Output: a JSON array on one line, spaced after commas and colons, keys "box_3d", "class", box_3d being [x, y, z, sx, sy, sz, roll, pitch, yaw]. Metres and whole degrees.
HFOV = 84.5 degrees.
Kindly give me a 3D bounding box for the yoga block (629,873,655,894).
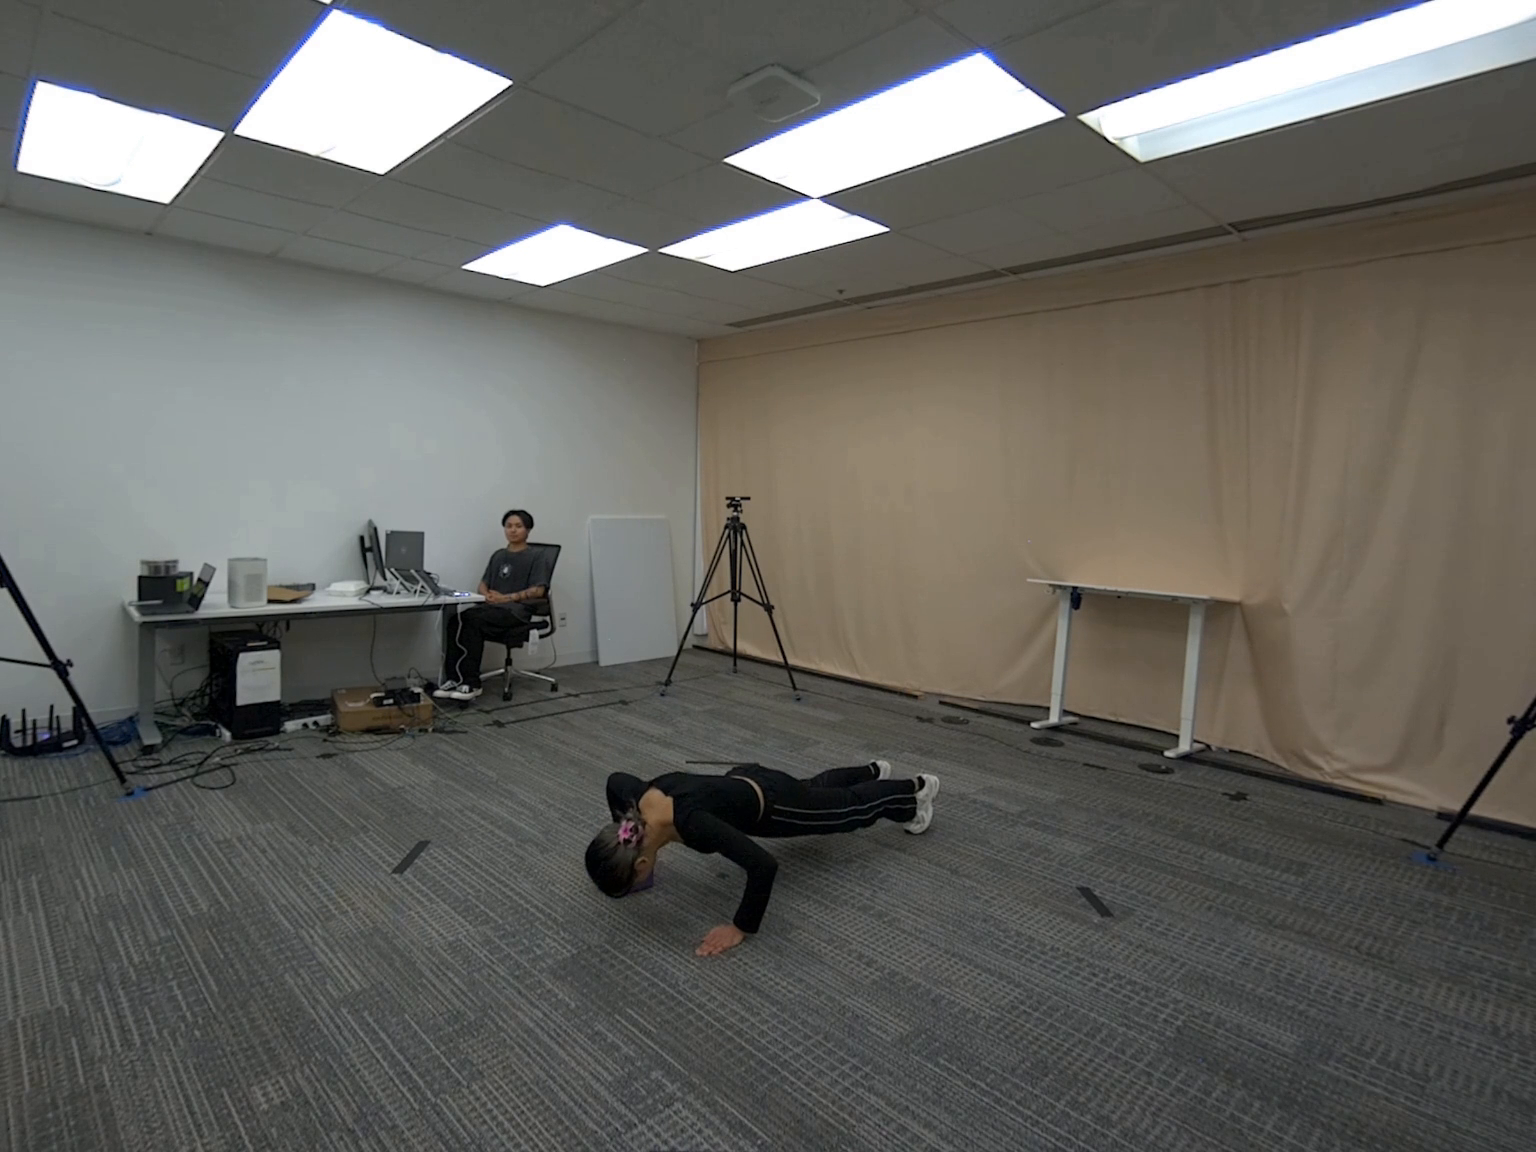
[{"box_3d": [-0.532, 1.064, 3.052, 0.146, 0.076, 0.235, -4, 7, -39], "class": "yoga block"}]
